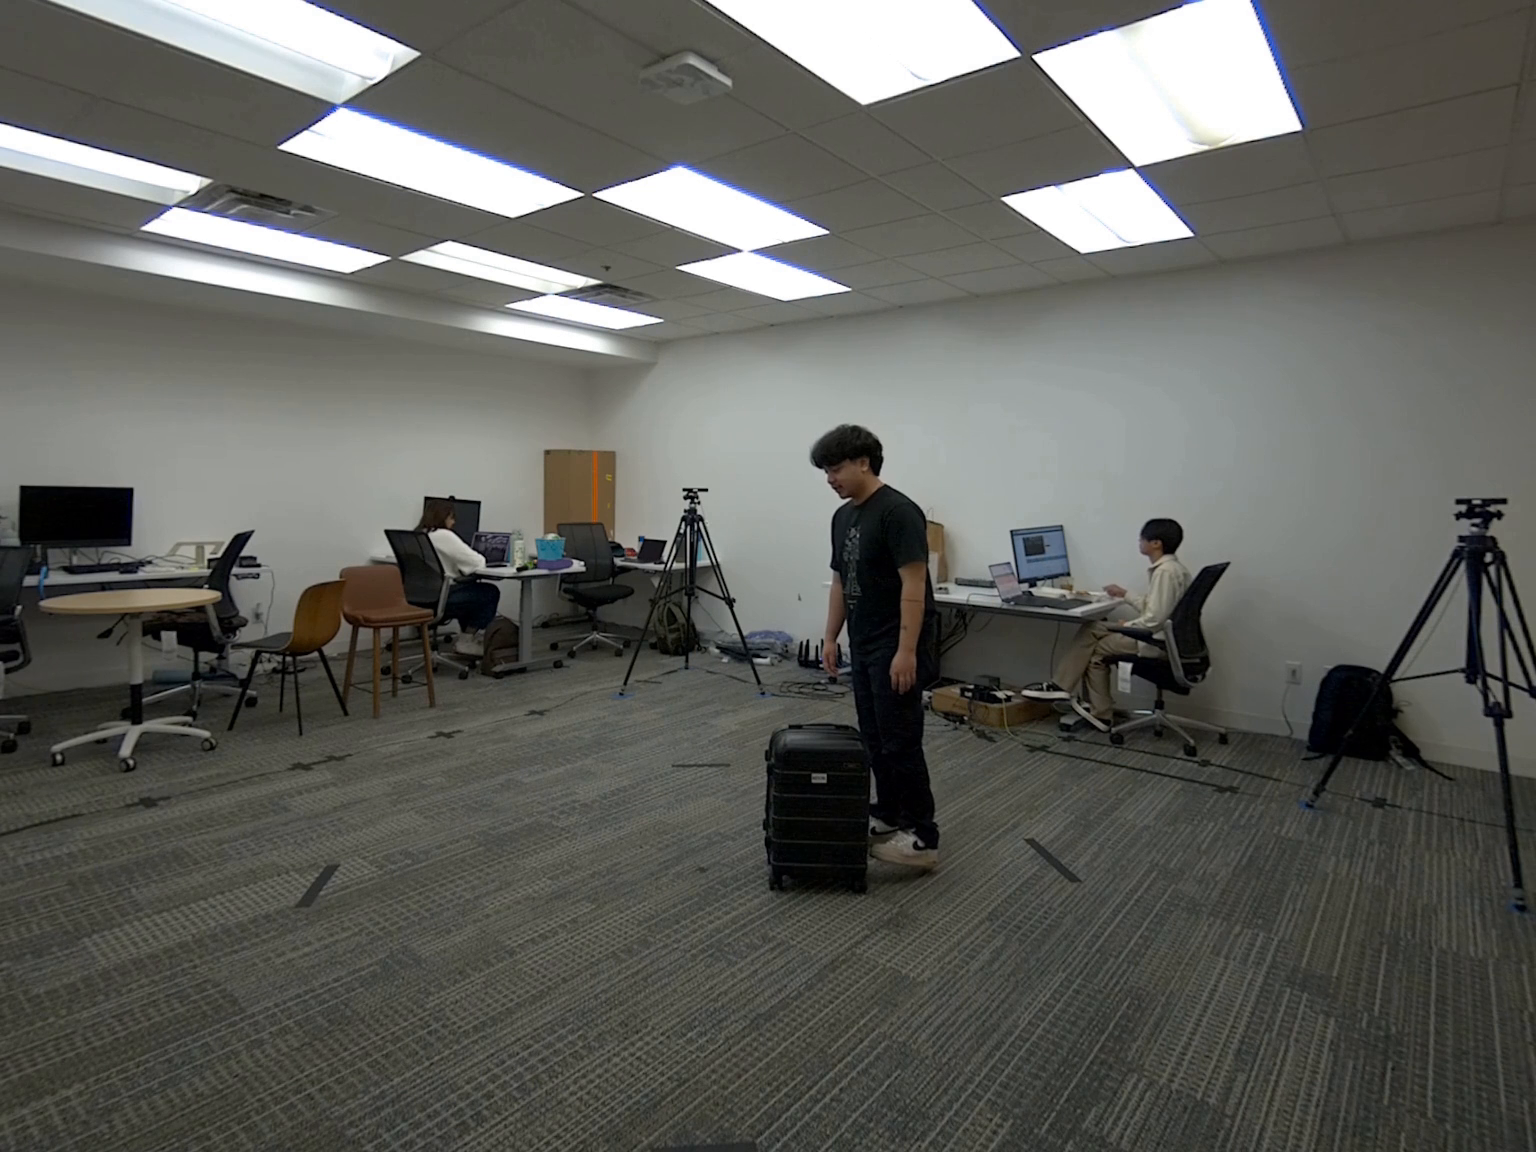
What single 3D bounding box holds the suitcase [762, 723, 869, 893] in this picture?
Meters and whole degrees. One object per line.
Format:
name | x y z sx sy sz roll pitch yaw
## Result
suitcase | 0.172 0.809 3.038 0.375 0.547 0.250 1 5 -2
